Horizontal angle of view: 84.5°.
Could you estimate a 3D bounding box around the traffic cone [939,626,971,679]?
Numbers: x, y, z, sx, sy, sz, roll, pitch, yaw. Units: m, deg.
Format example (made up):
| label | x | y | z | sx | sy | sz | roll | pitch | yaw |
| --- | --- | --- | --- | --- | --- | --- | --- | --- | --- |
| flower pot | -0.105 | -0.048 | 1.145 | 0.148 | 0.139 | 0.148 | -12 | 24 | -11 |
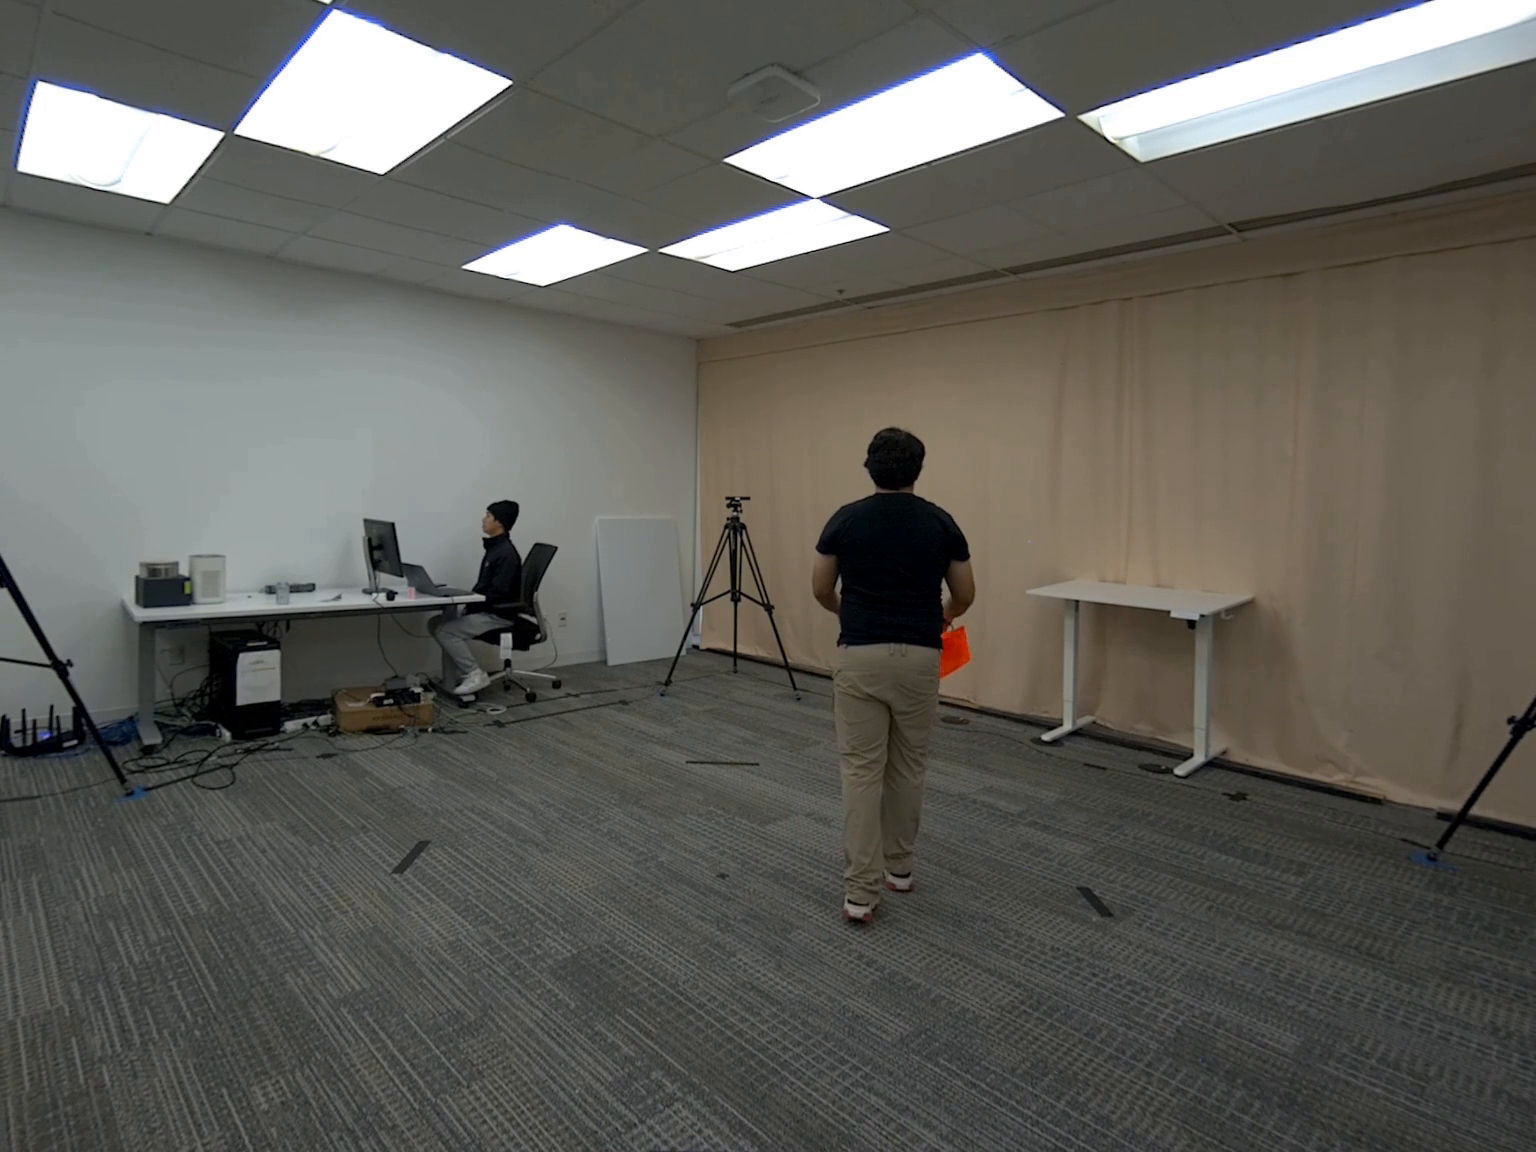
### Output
| label | x | y | z | sx | sy | sz | roll | pitch | yaw |
| --- | --- | --- | --- | --- | --- | --- | --- | --- | --- |
| traffic cone | 0.593 | 0.221 | 3.337 | 0.203 | 0.199 | 0.395 | -29 | 33 | -6 |
